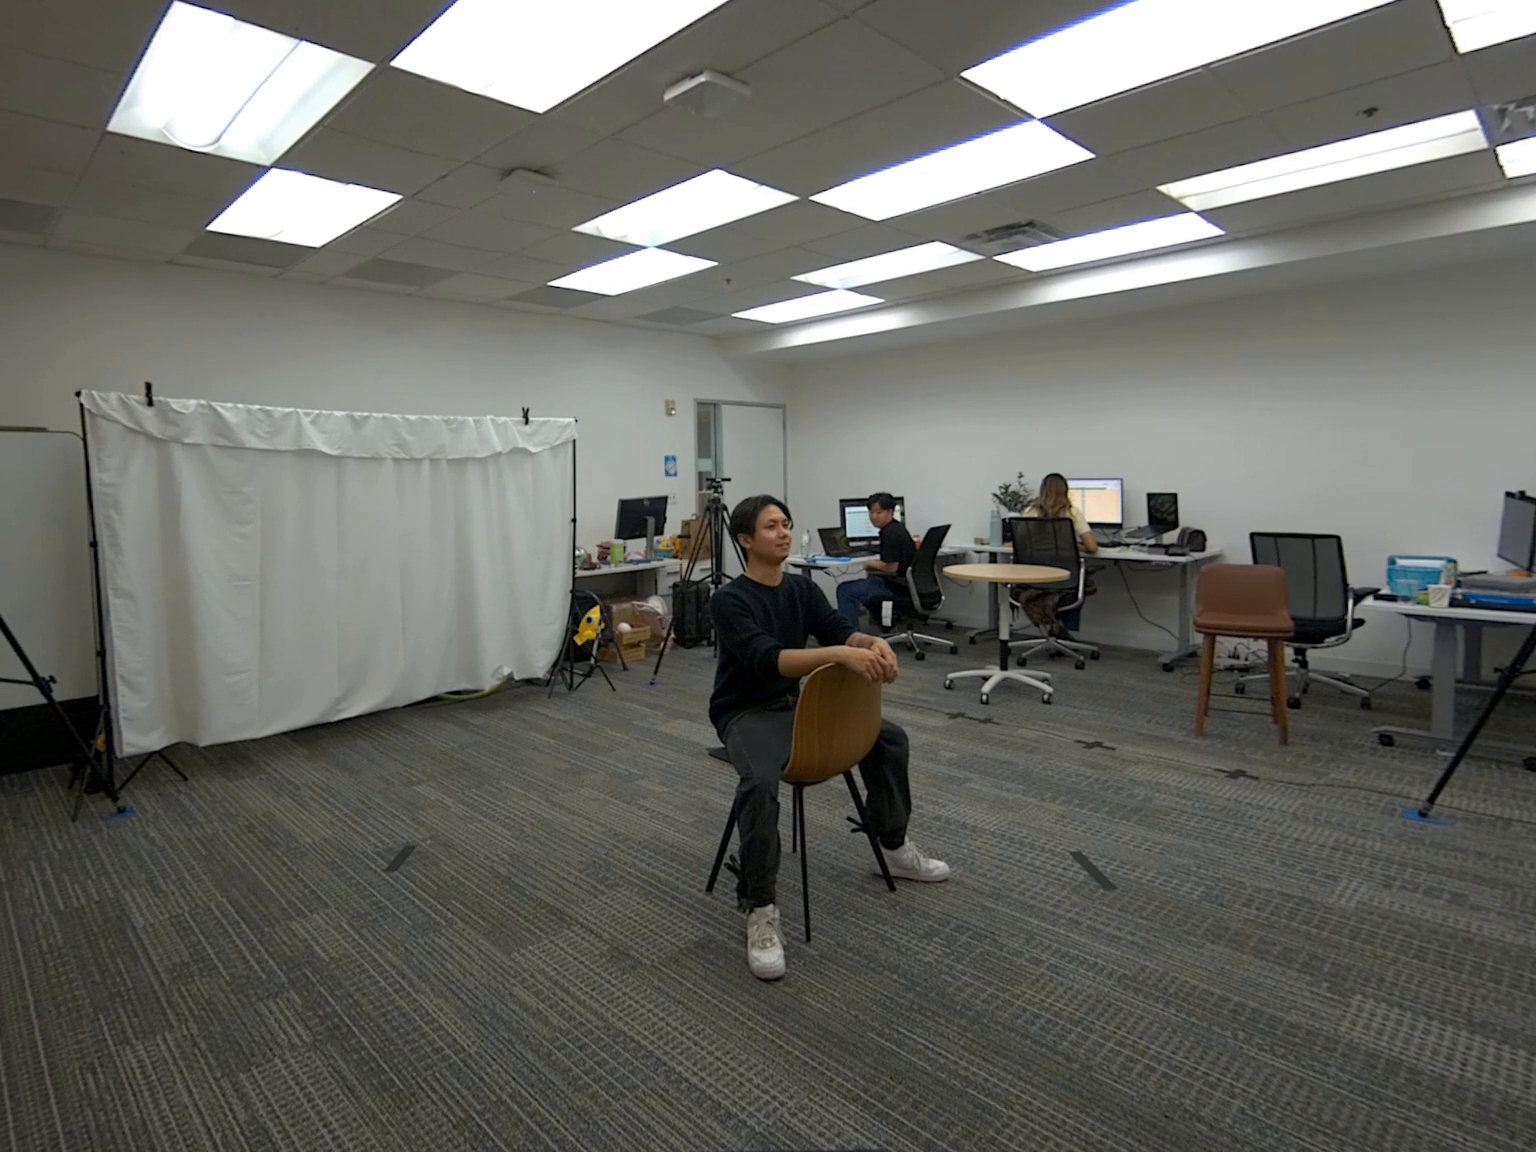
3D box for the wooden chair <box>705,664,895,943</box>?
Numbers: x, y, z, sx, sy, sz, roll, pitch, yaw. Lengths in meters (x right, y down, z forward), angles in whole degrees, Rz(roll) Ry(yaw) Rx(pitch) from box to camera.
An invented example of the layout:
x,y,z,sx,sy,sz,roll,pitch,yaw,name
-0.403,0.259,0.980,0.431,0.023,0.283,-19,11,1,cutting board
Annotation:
x,y,z,sx,sy,sz,roll,pitch,yaw,name
0.091,0.639,2.862,0.465,0.872,0.540,-6,11,-44,wooden chair
